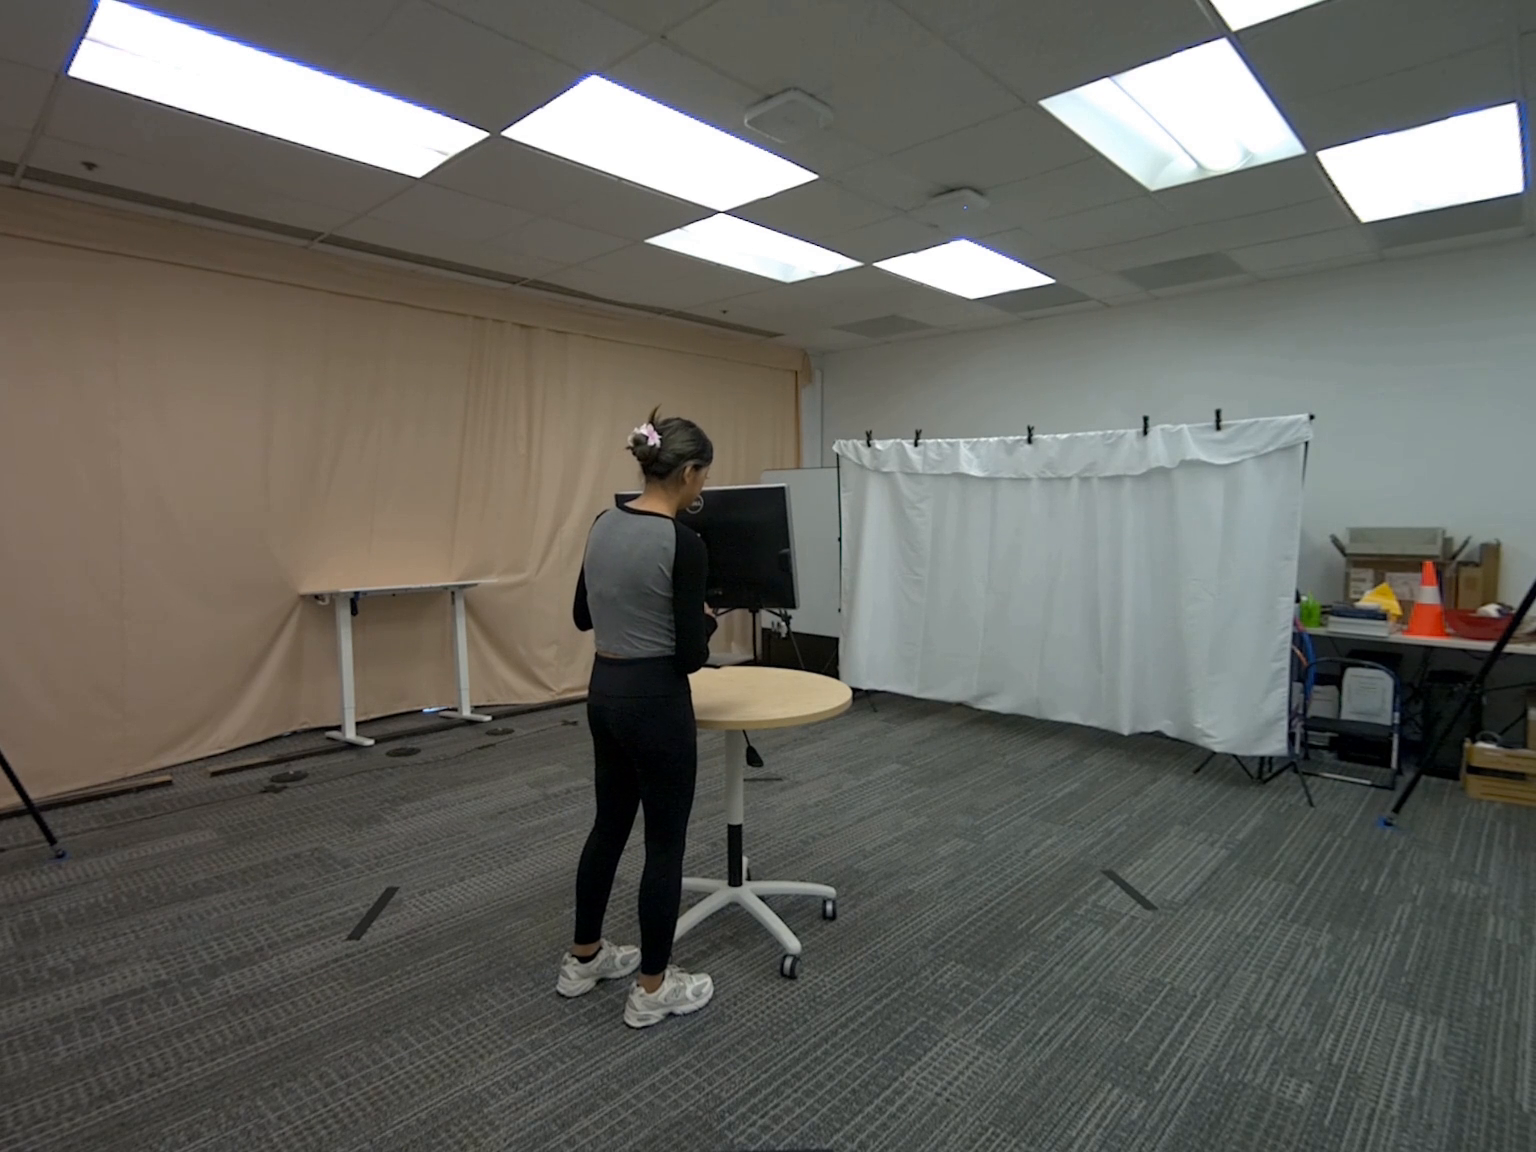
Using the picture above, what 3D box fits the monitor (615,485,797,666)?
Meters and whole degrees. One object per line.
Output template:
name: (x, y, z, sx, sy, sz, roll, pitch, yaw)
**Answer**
monitor: (-0.195, 0.003, 2.456, 0.551, 0.523, 0.183, -1, -1, 22)
